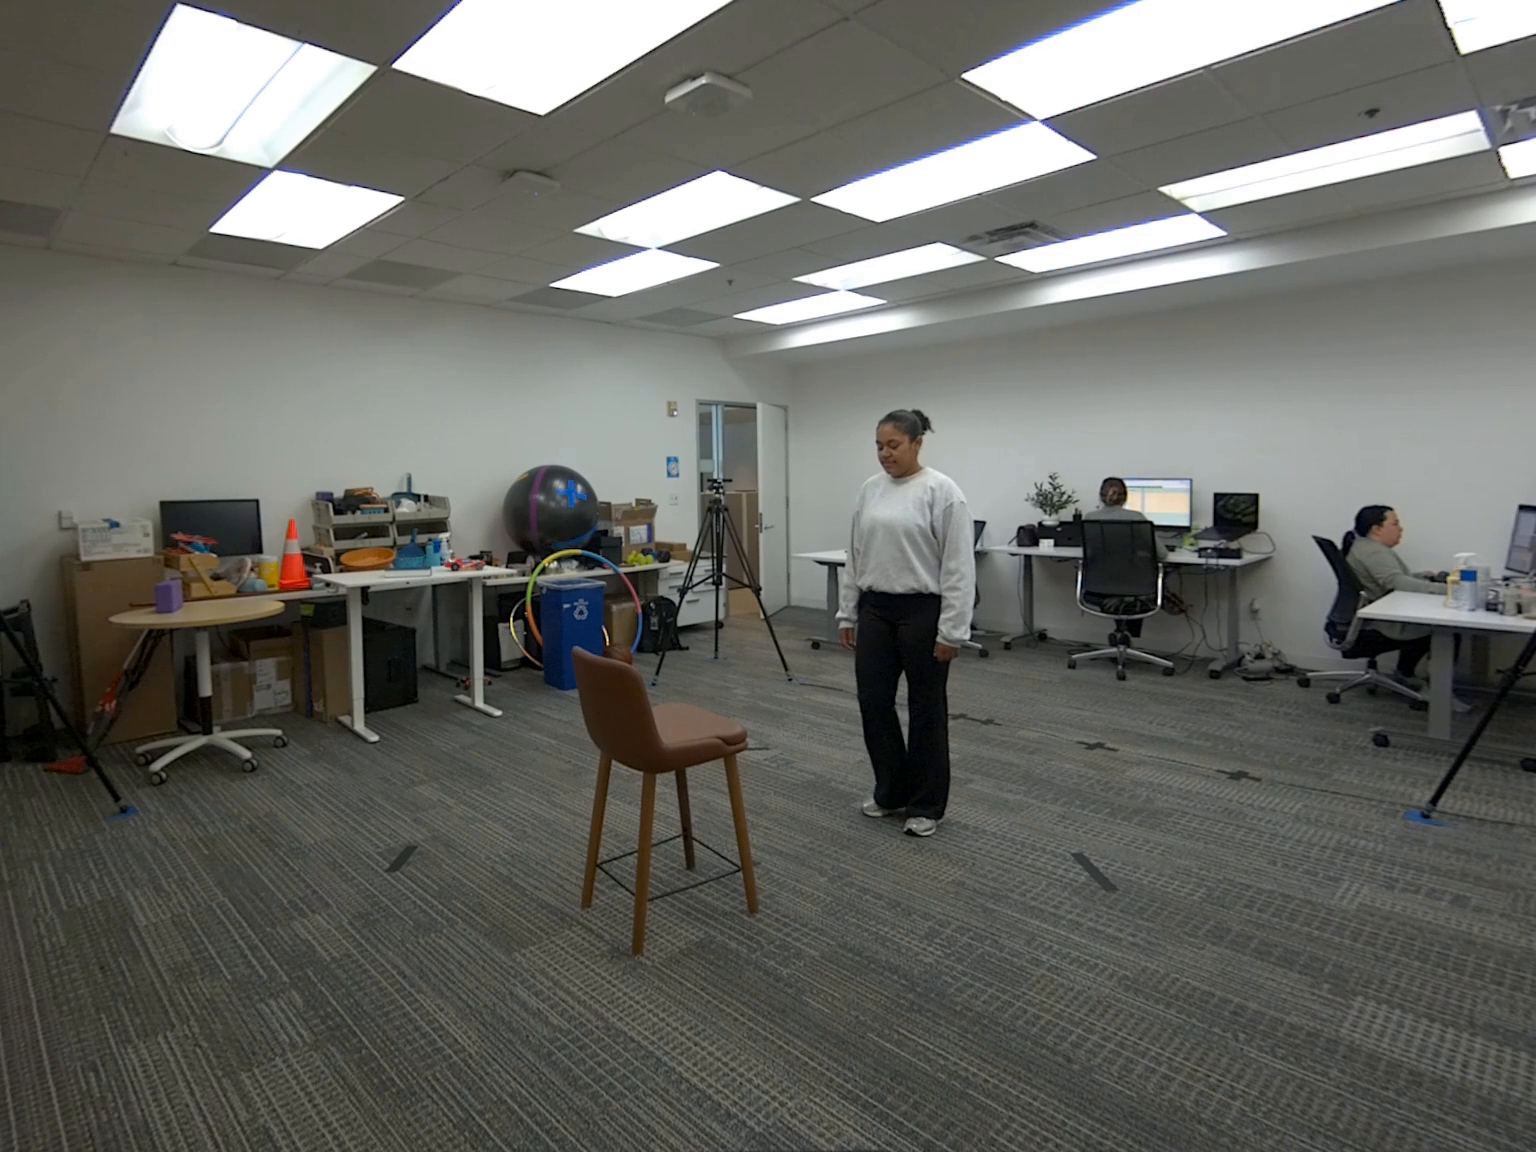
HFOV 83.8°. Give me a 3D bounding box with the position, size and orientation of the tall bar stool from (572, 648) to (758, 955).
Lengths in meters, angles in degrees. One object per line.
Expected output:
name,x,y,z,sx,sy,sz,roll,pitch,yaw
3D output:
tall bar stool,-0.339,0.656,2.763,0.456,0.885,0.470,-6,7,-36
